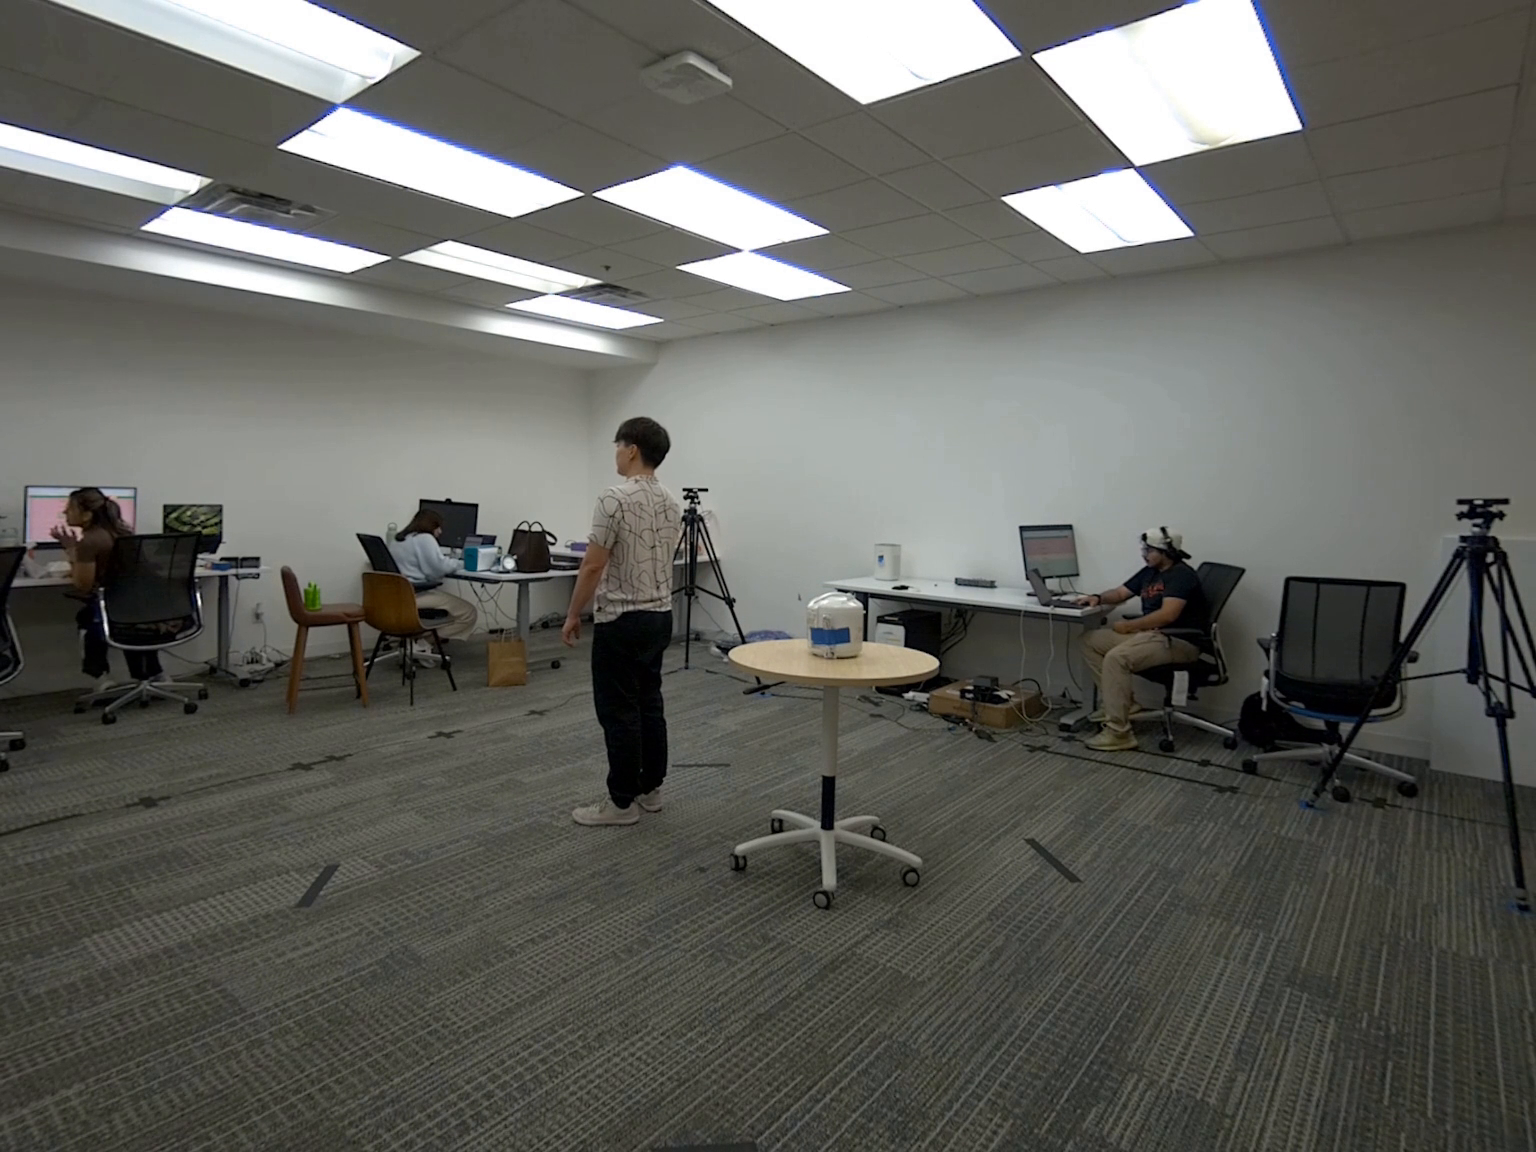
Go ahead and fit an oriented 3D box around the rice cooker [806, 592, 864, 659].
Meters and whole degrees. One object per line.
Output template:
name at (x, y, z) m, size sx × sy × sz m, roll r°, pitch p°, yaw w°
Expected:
rice cooker at (0.240, 0.173, 3.170) m, size 0.215 × 0.232 × 0.223 m, roll 0°, pitch 5°, yaw -26°
